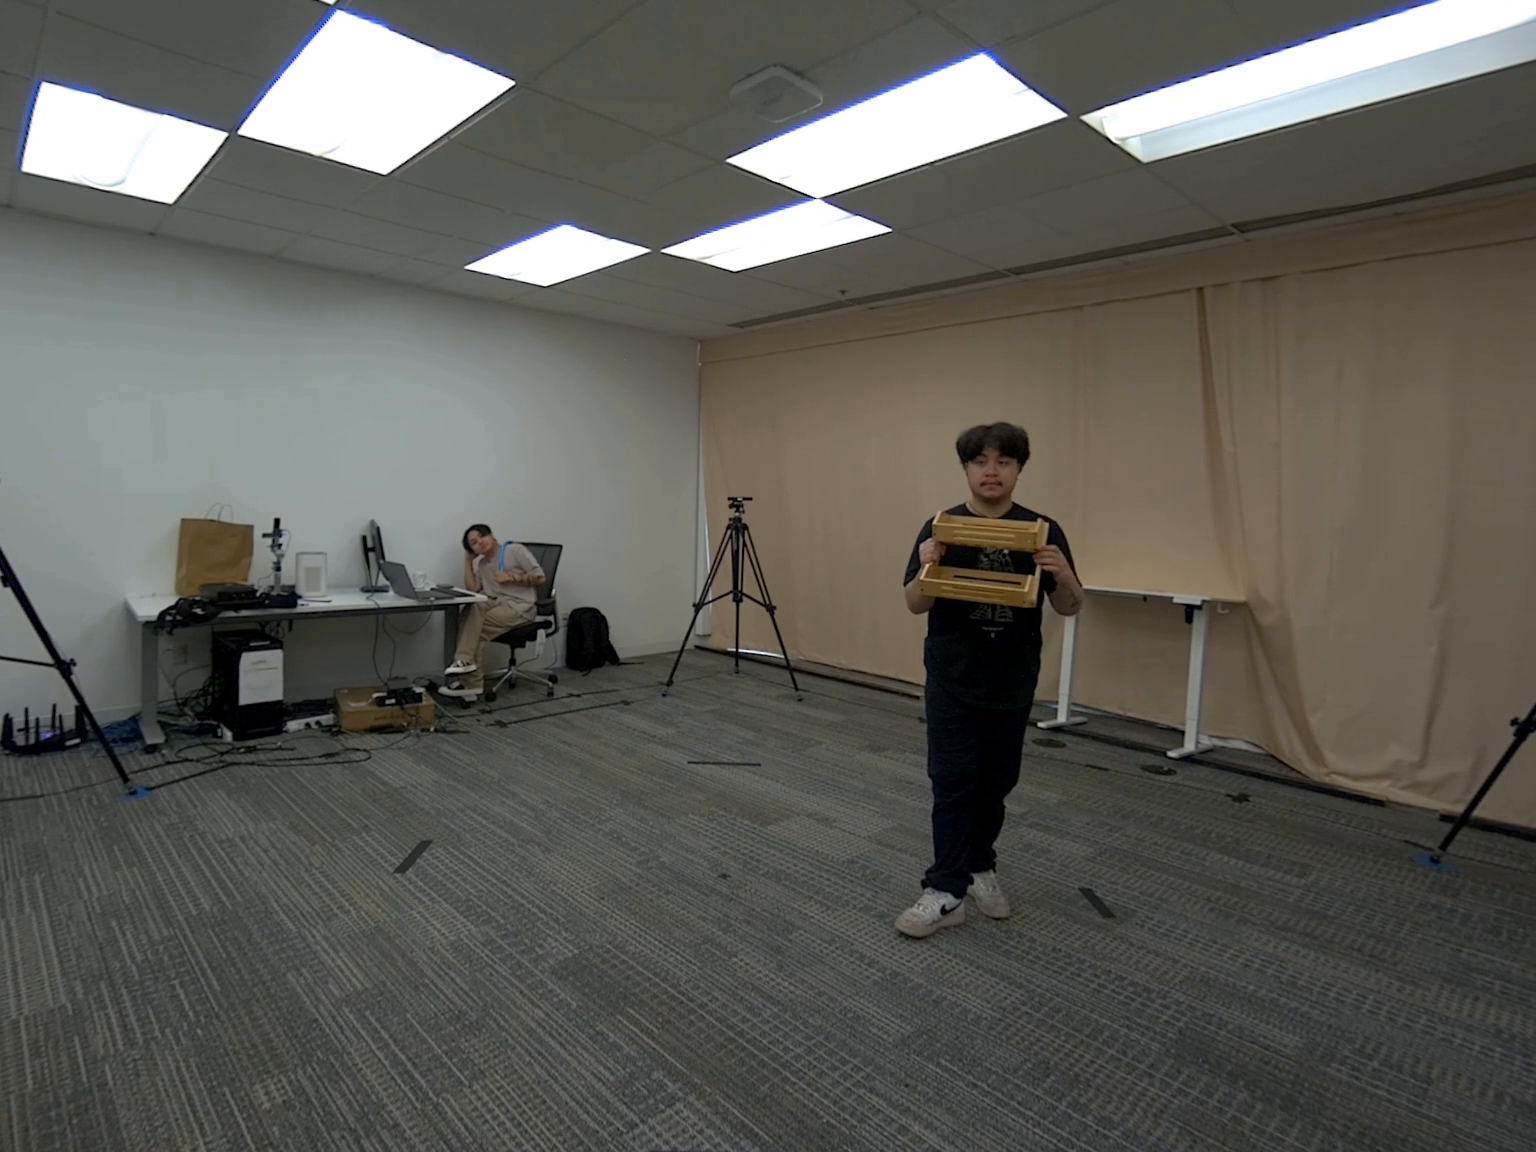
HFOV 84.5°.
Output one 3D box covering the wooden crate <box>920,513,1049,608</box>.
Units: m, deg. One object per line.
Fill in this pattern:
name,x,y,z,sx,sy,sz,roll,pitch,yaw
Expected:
wooden crate,0.656,-0.058,2.518,0.331,0.273,0.295,7,-1,25
